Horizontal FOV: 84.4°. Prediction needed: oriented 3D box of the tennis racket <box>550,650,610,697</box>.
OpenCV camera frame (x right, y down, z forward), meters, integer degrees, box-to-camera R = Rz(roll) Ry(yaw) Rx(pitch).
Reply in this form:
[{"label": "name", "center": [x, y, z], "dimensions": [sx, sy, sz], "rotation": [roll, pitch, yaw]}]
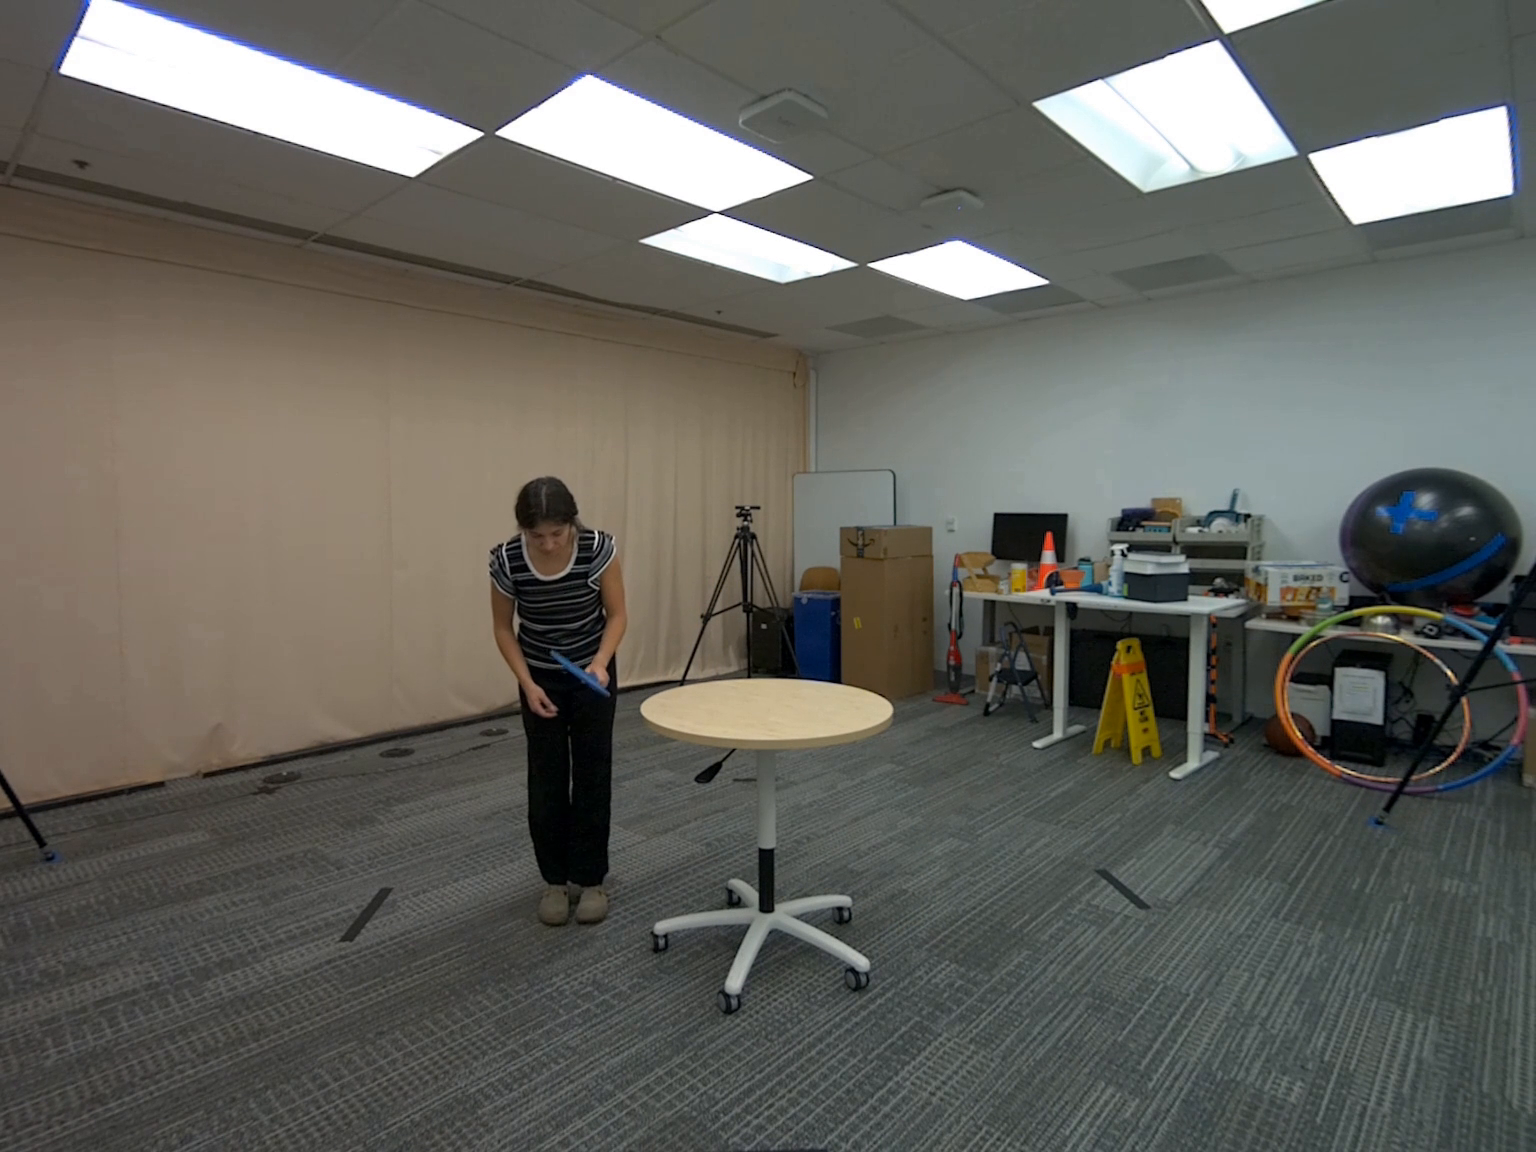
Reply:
[{"label": "tennis racket", "center": [-0.557, 0.308, 2.552], "dimensions": [0.217, 0.032, 0.428], "rotation": [41, -9, 9]}]
